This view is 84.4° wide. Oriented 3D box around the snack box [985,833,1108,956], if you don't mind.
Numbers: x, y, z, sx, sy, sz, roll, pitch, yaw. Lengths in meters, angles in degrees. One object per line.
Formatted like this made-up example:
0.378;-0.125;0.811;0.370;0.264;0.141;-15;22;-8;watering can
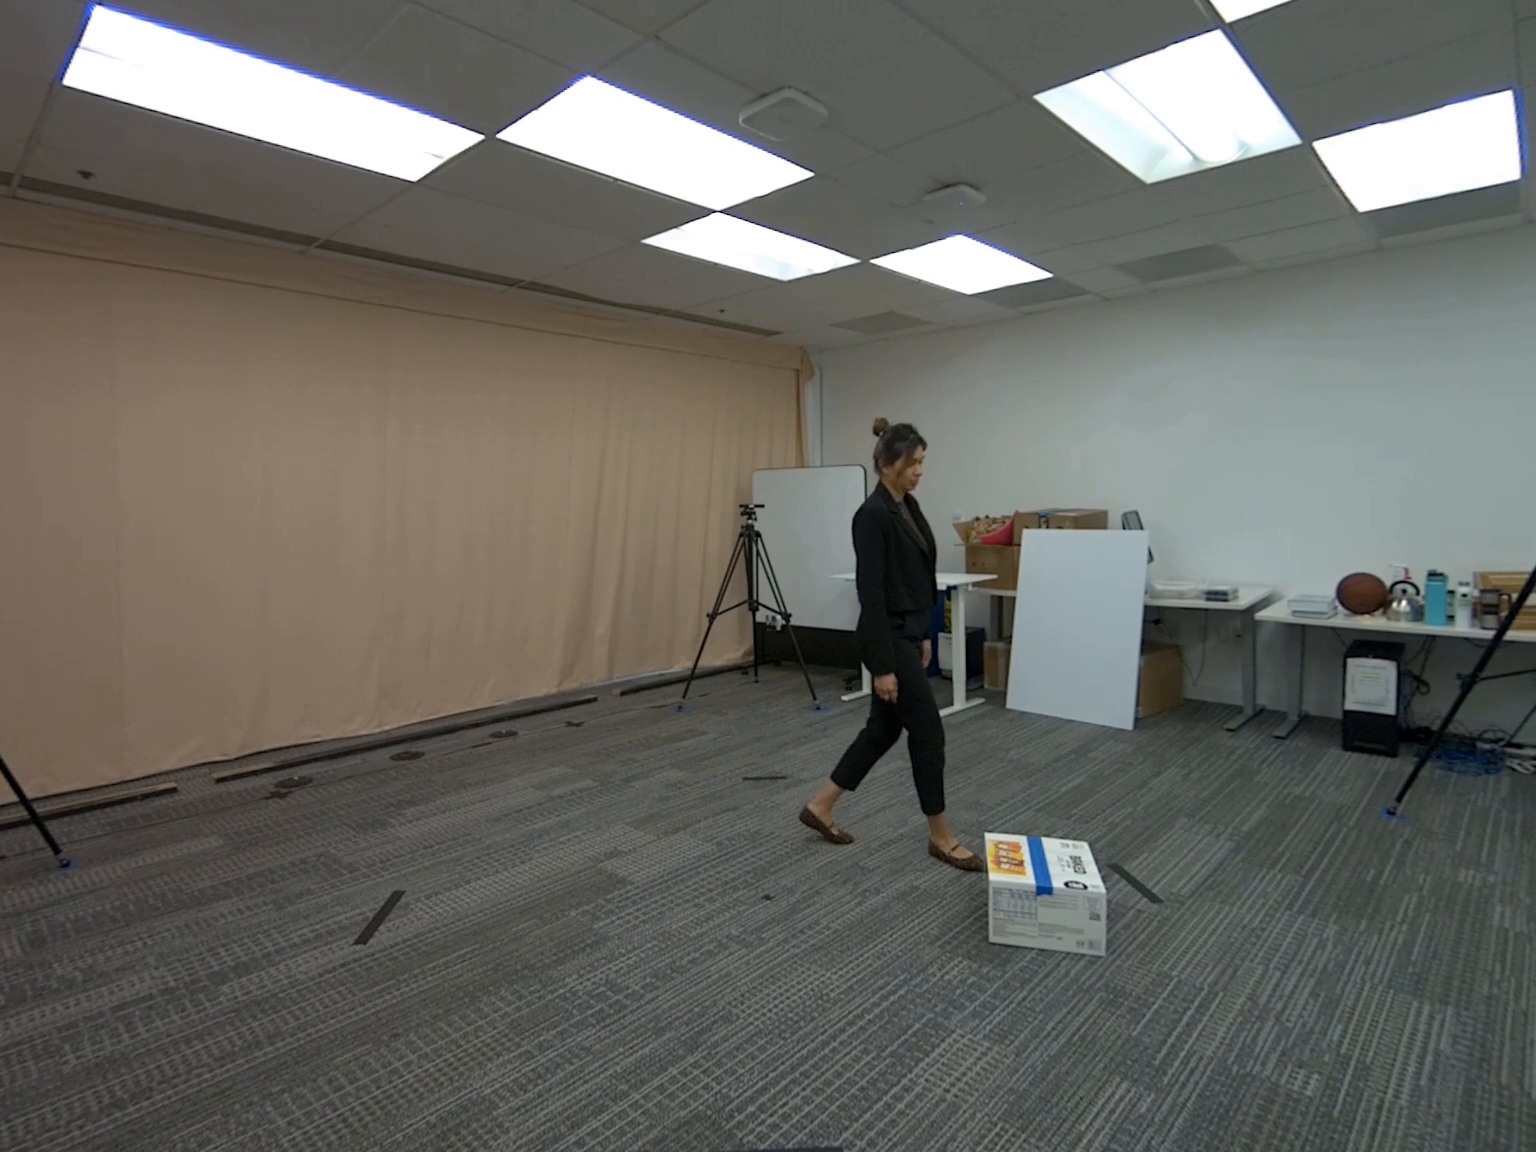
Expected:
0.912;1.041;2.787;0.346;0.205;0.400;0;4;13;snack box
